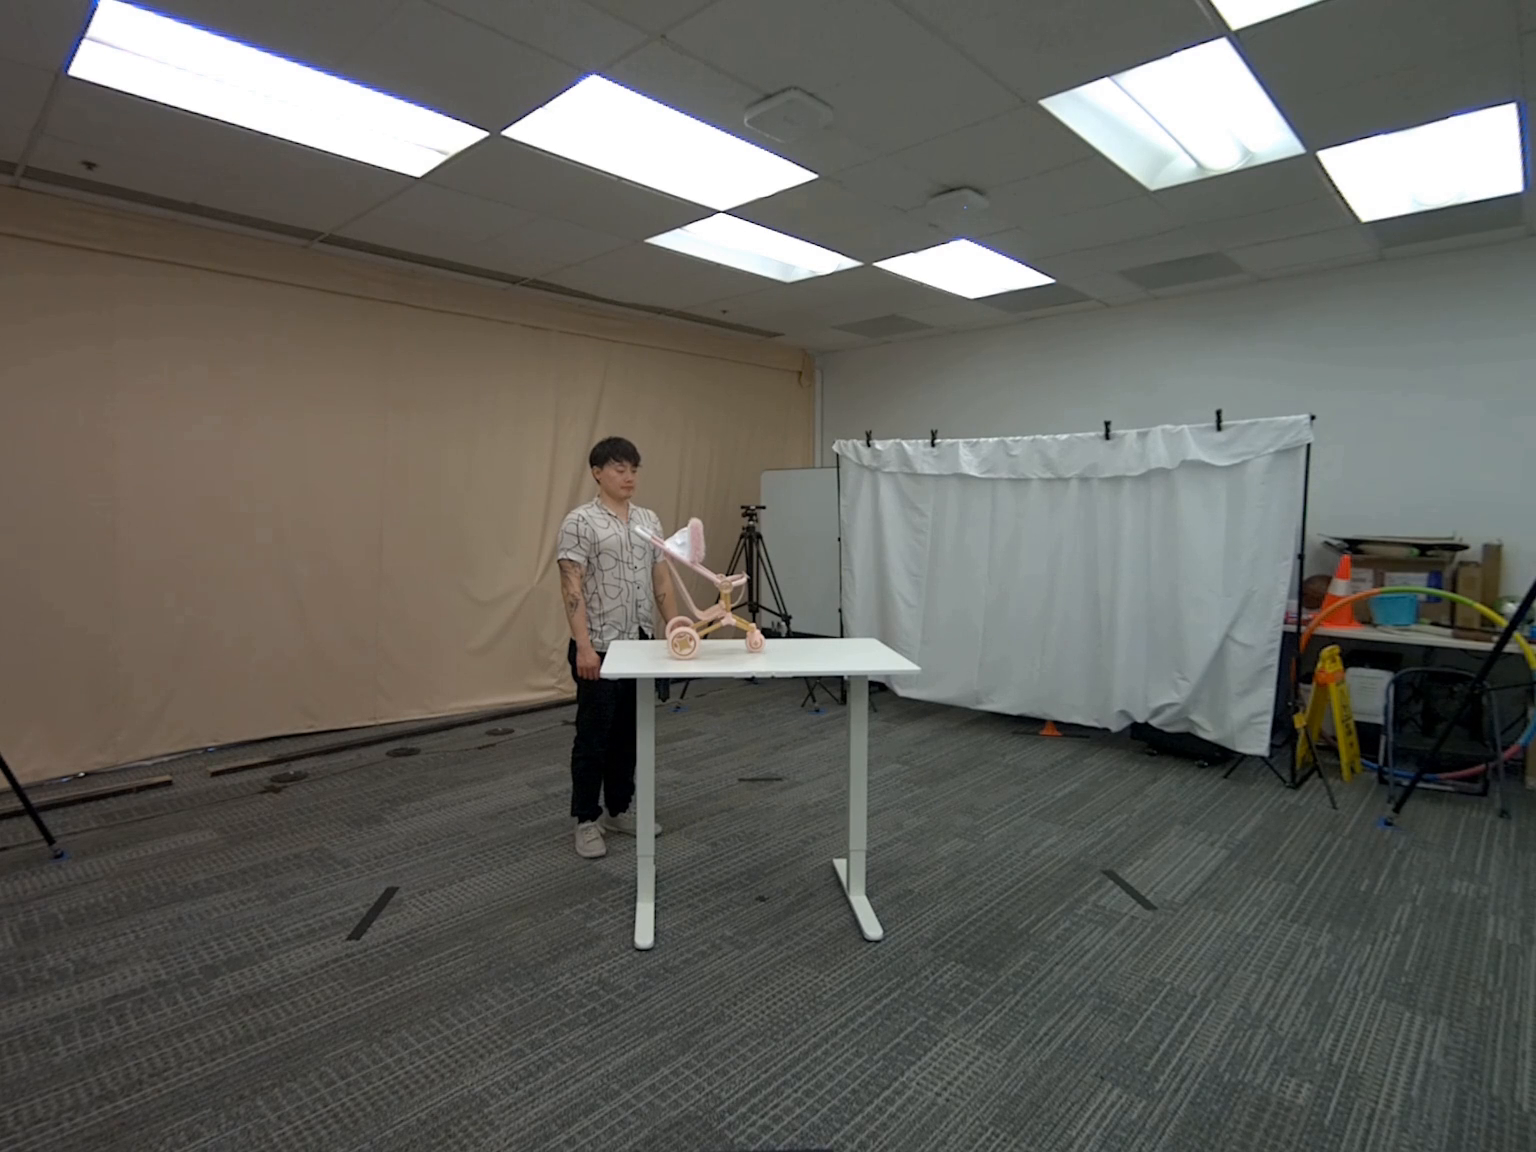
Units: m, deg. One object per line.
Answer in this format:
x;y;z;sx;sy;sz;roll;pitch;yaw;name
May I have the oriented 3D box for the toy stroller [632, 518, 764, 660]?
-0.224;0.044;2.900;0.342;0.533;0.282;-15;4;0;toy stroller
